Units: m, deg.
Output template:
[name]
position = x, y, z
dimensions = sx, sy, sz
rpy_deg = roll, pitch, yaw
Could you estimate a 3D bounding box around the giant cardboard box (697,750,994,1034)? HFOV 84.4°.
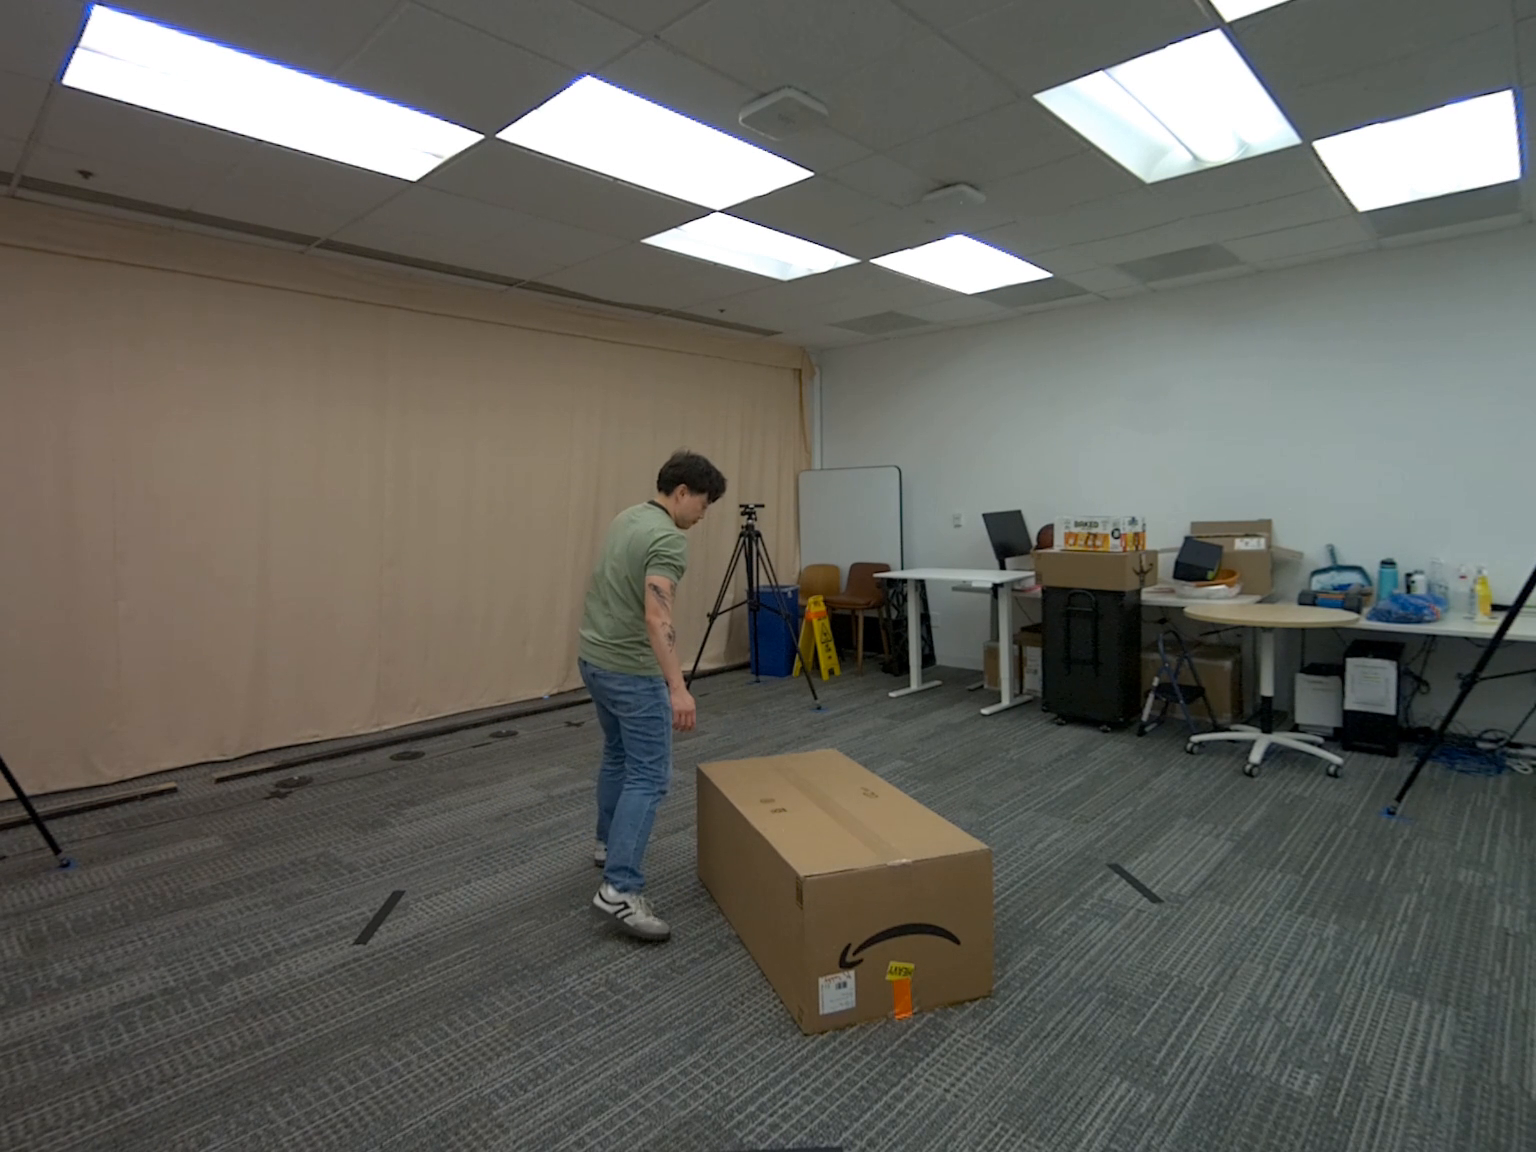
[giant cardboard box]
position = 0.186, 0.942, 2.753
dimensions = 0.567, 0.425, 1.048
rpy_deg = -3, 5, -19
